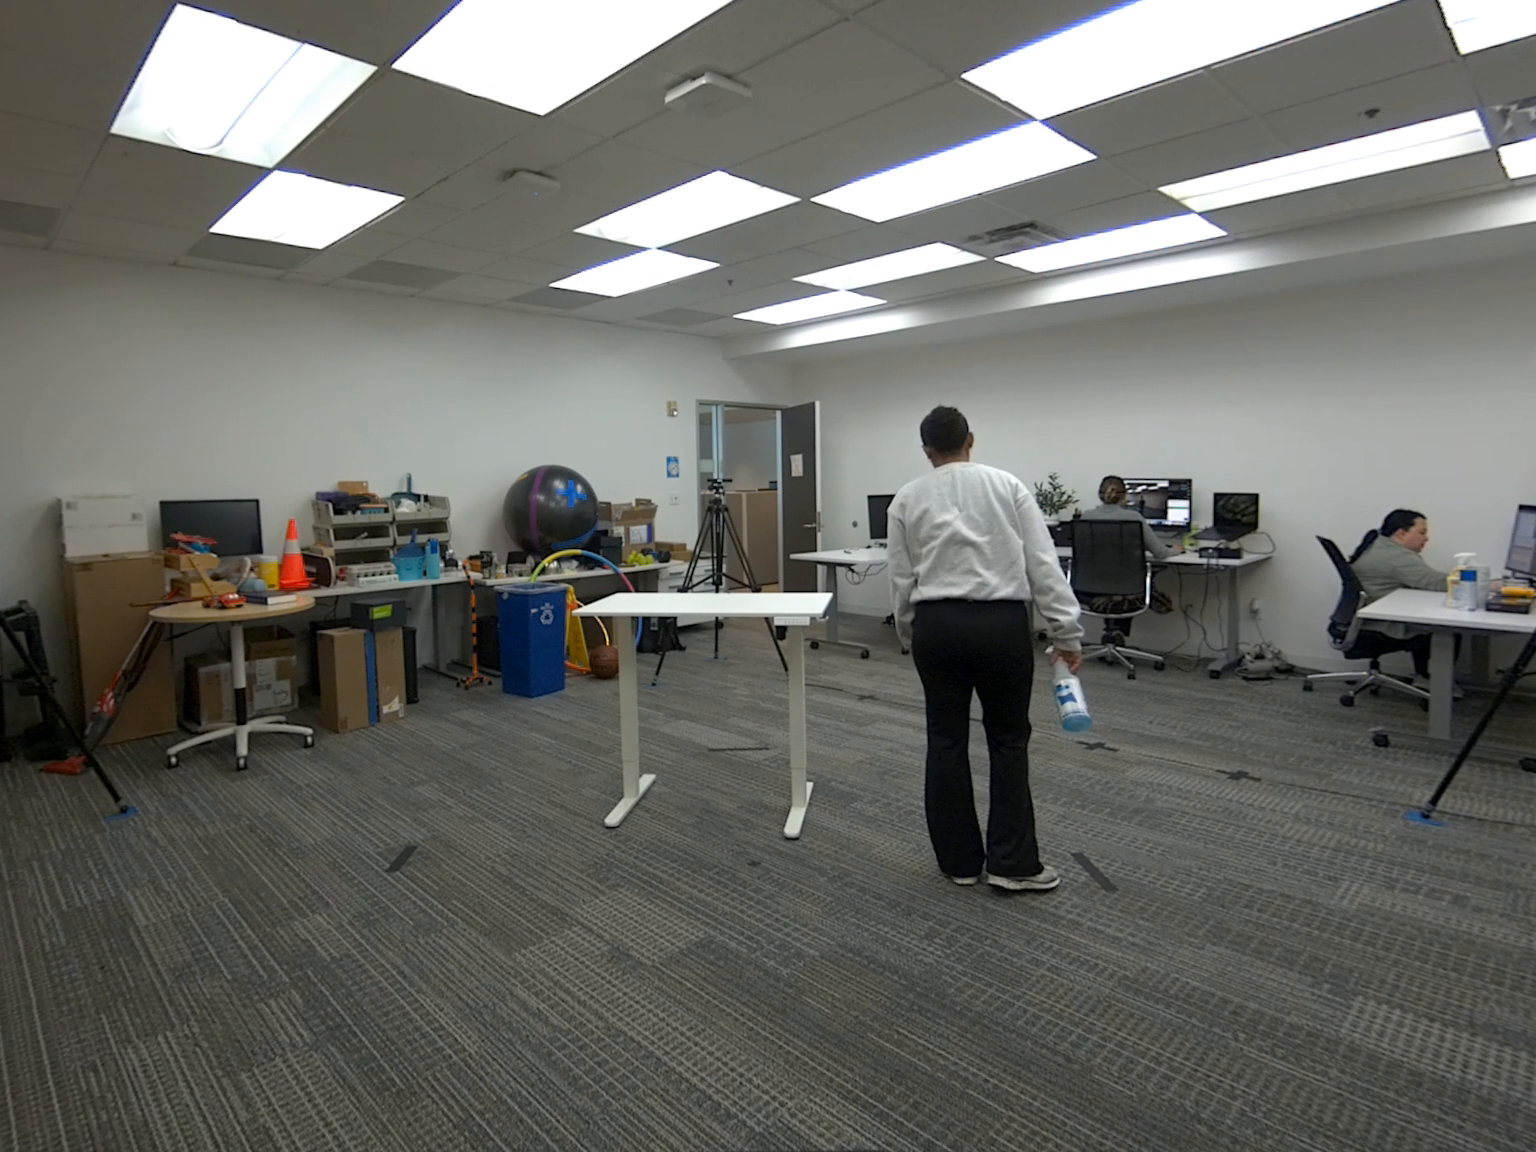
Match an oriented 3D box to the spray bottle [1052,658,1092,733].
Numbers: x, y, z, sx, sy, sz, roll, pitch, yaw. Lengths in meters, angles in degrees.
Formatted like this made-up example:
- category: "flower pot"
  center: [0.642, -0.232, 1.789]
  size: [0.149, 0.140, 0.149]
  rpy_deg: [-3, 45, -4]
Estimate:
- category: "spray bottle"
  center: [0.945, 0.356, 2.756]
  size: [0.090, 0.305, 0.084]
  rpy_deg: [-5, -41, 6]
